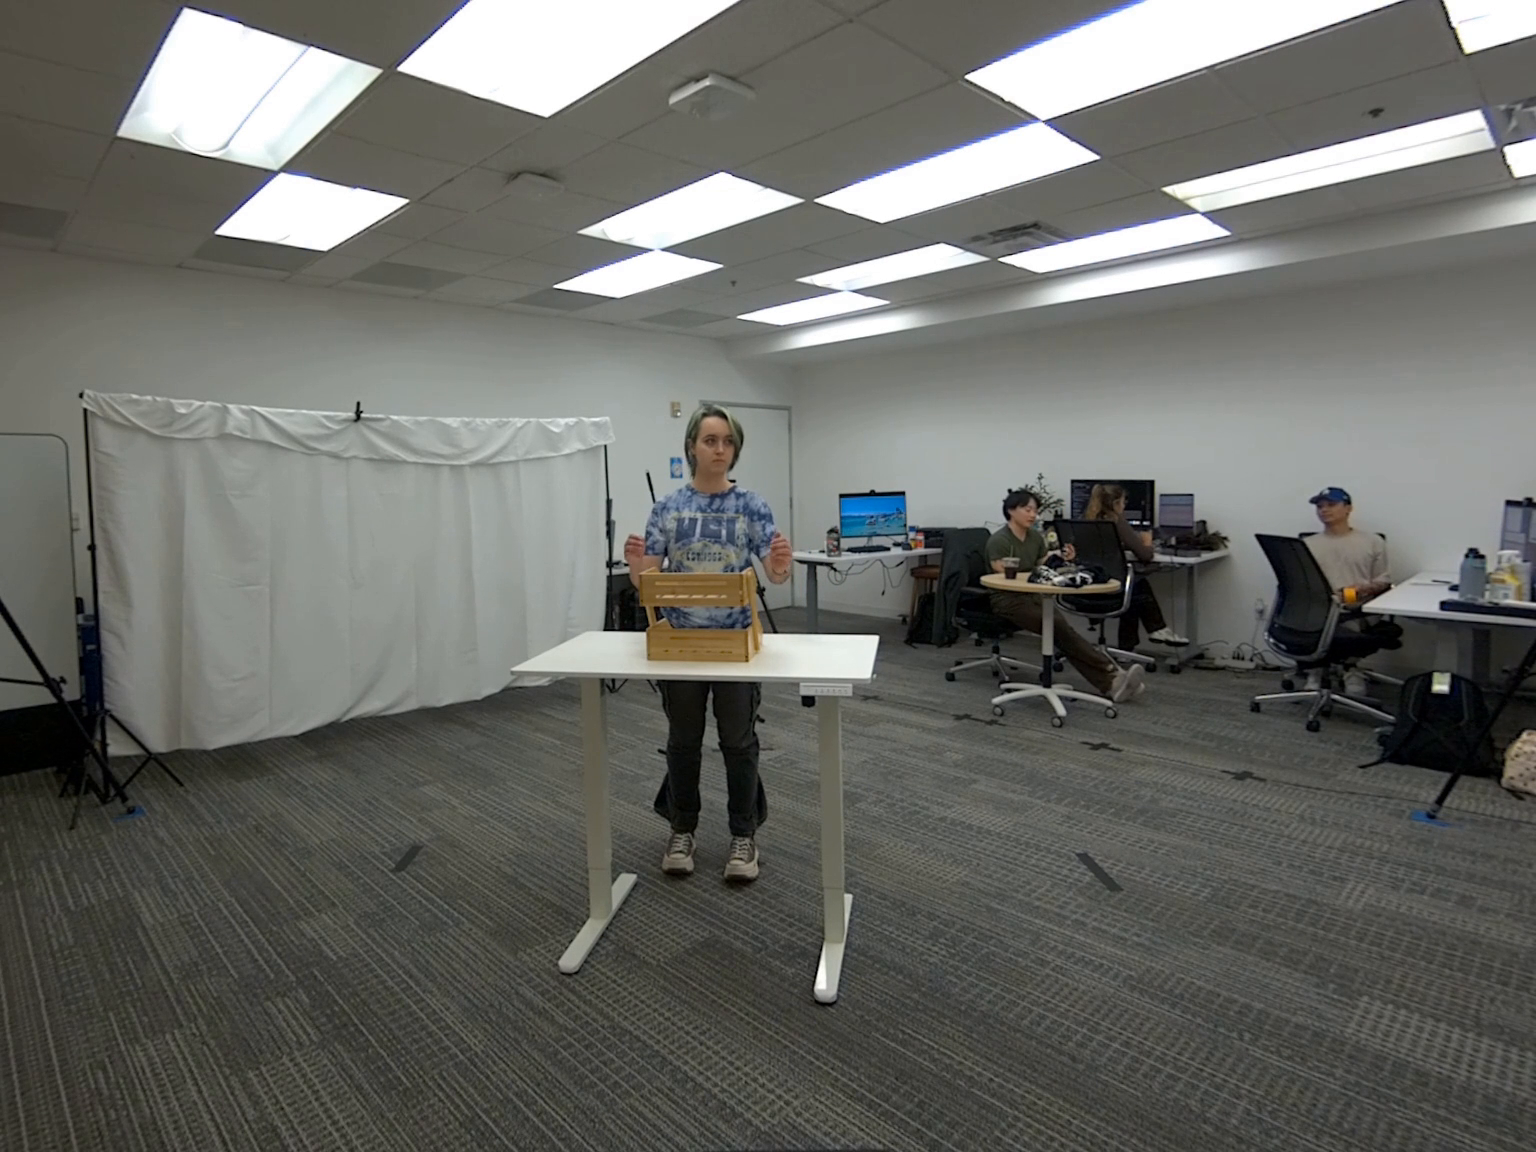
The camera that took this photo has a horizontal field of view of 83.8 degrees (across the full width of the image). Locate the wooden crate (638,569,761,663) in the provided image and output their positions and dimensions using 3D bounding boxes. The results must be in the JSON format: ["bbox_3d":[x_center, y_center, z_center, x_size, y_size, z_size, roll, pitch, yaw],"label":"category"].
[{"bbox_3d":[-0.191,0.103,2.531,0.328,0.272,0.300,-1,6,11],"label":"wooden crate"}]
